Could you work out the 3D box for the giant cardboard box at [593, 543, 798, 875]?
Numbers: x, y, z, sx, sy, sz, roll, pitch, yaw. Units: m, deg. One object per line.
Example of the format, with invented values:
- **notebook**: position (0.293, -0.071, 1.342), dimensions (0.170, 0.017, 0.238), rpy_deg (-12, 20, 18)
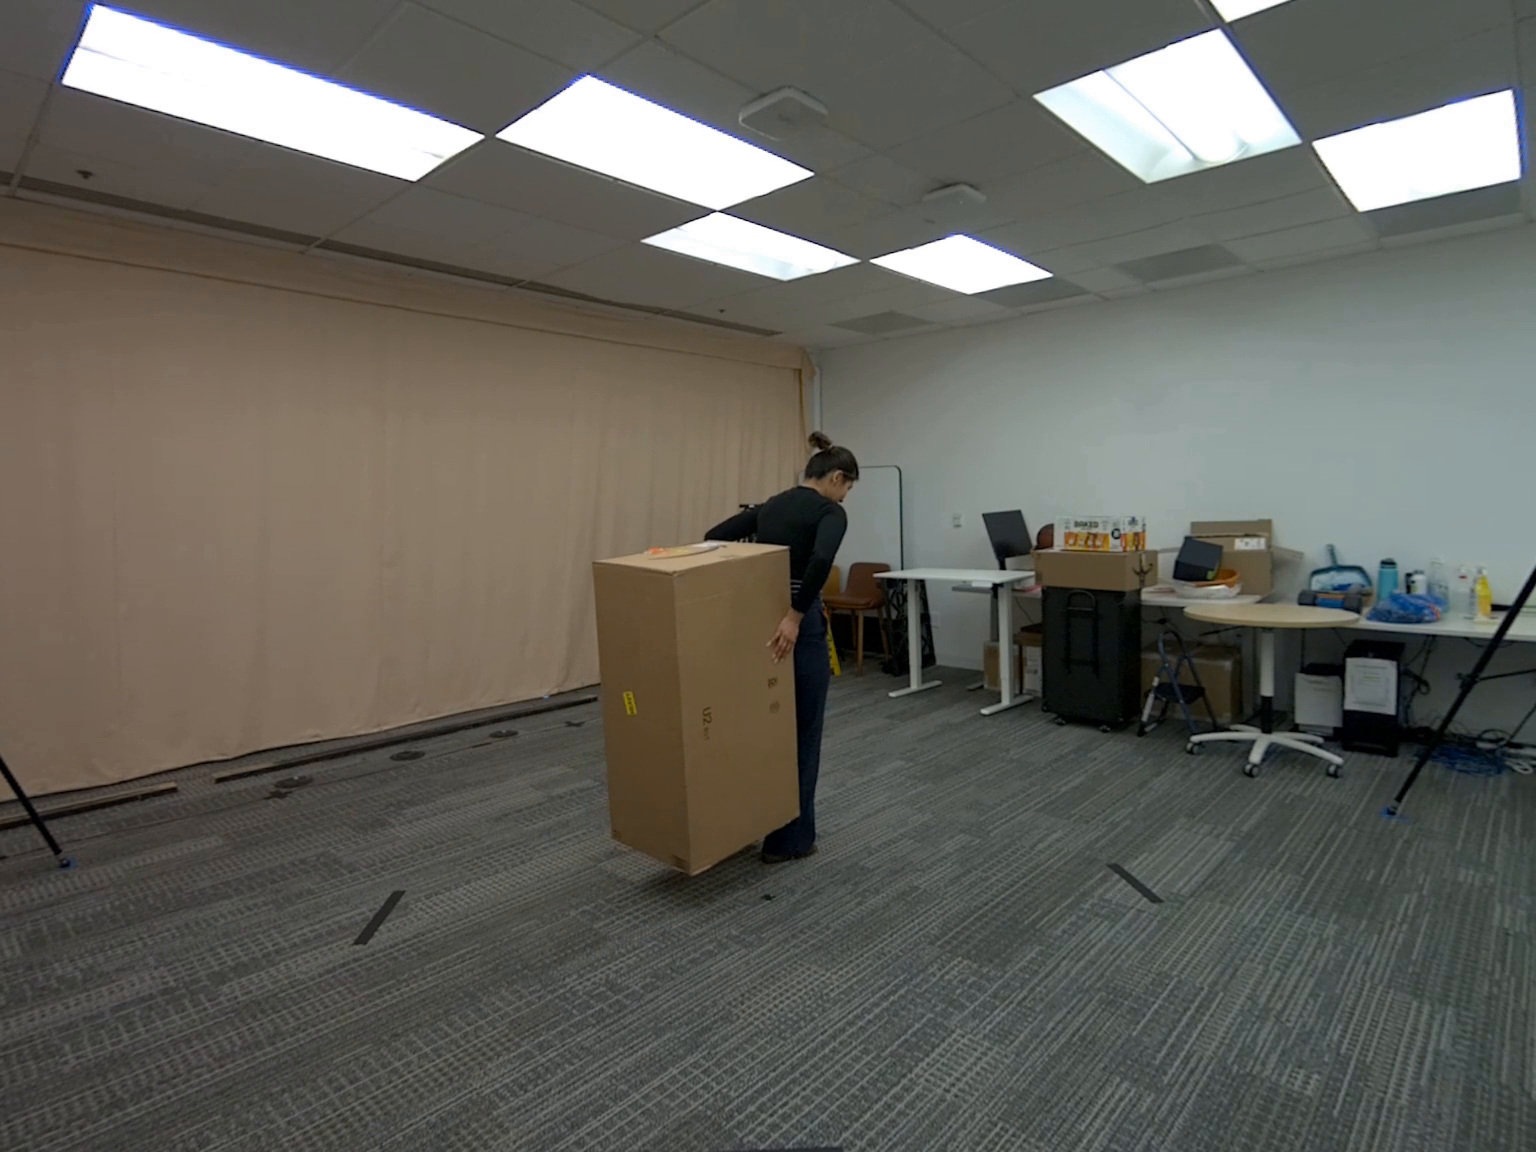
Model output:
- **giant cardboard box**: position (-0.252, 0.435, 3.037), dimensions (0.441, 1.020, 0.561), rpy_deg (6, 12, 43)
